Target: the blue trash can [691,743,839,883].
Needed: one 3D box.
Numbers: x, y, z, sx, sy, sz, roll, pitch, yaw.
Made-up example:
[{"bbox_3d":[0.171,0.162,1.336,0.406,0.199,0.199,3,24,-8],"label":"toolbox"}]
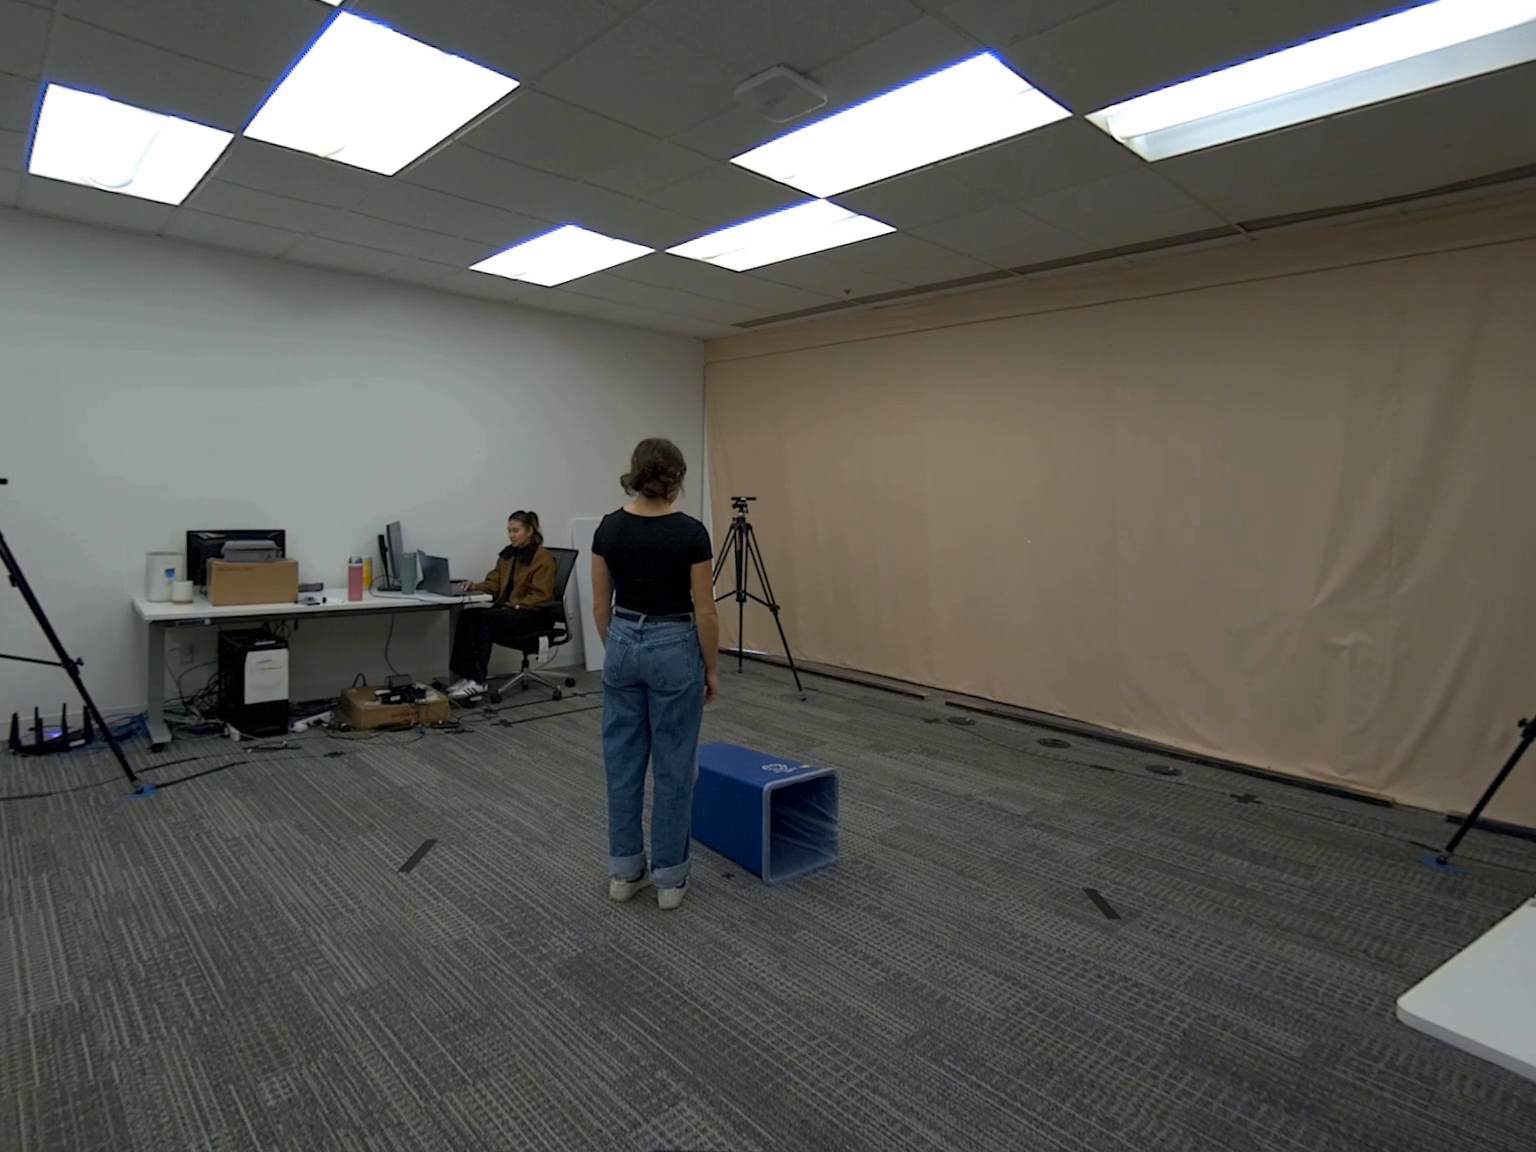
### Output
[{"bbox_3d":[-0.098,0.918,3.405,0.370,0.373,0.730,-3,3,-38],"label":"blue trash can"}]
